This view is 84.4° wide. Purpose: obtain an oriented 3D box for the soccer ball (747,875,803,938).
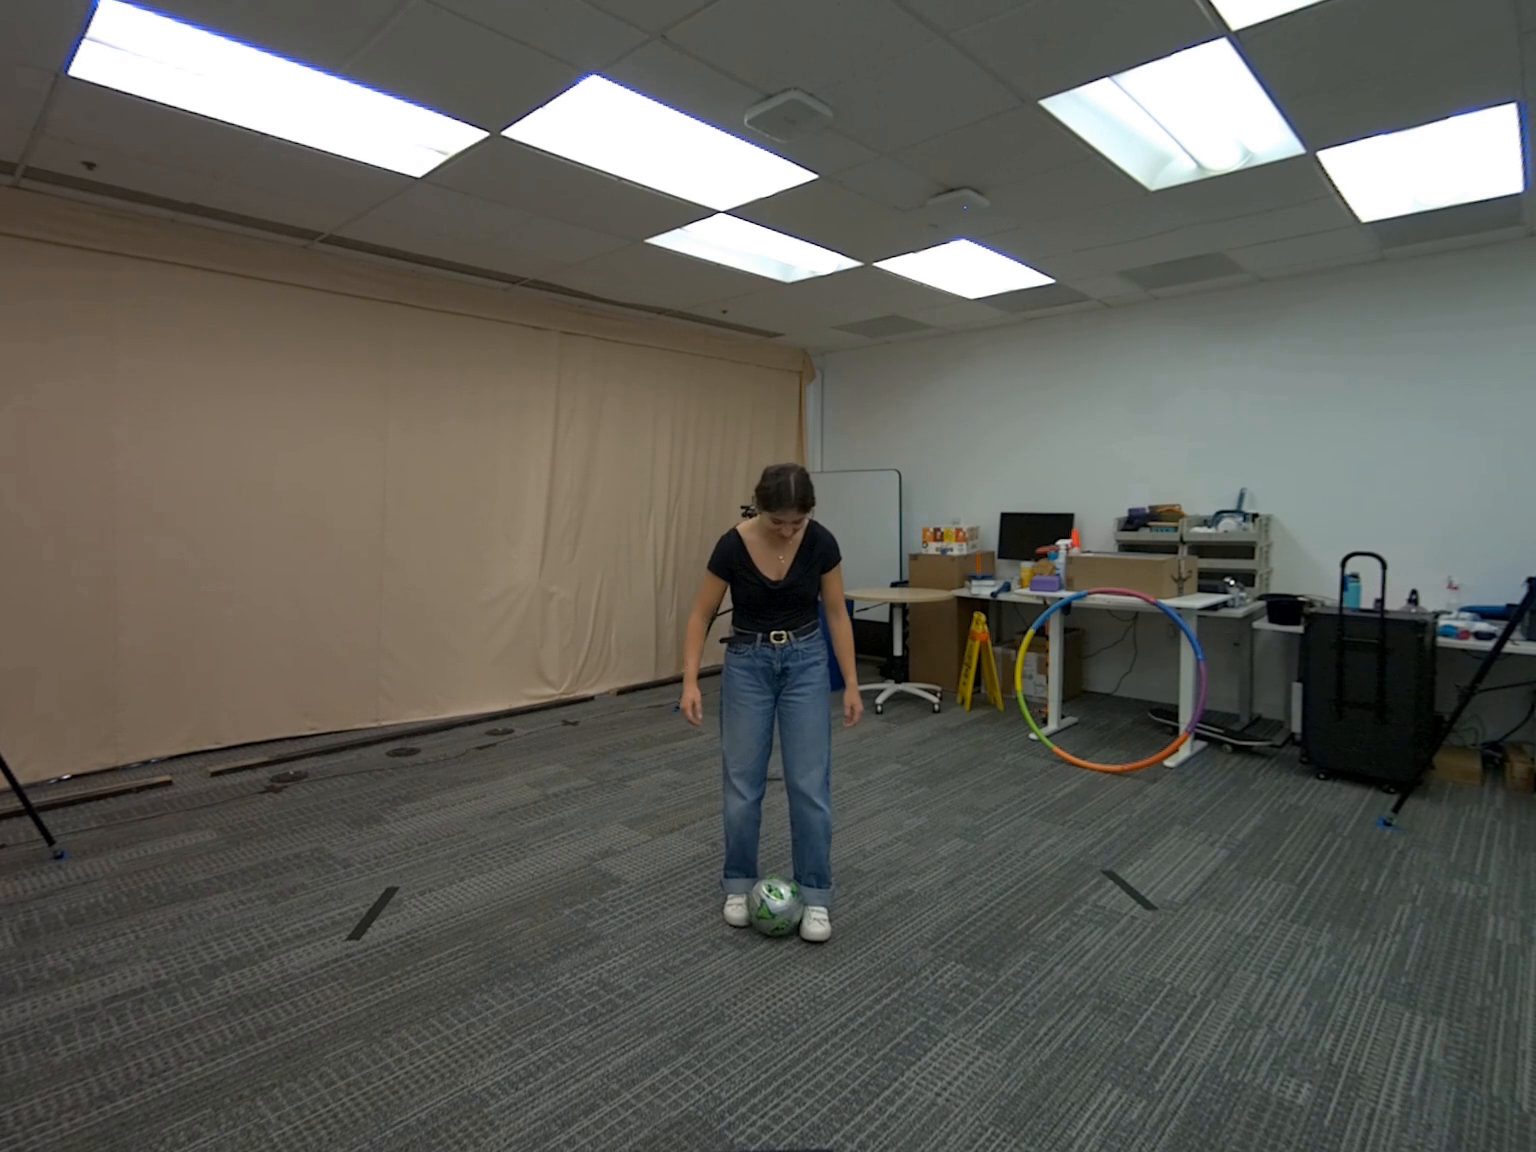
[{"bbox_3d":[0.028,1.075,2.743,0.187,0.187,0.188,0,4,-2],"label":"soccer ball"}]
